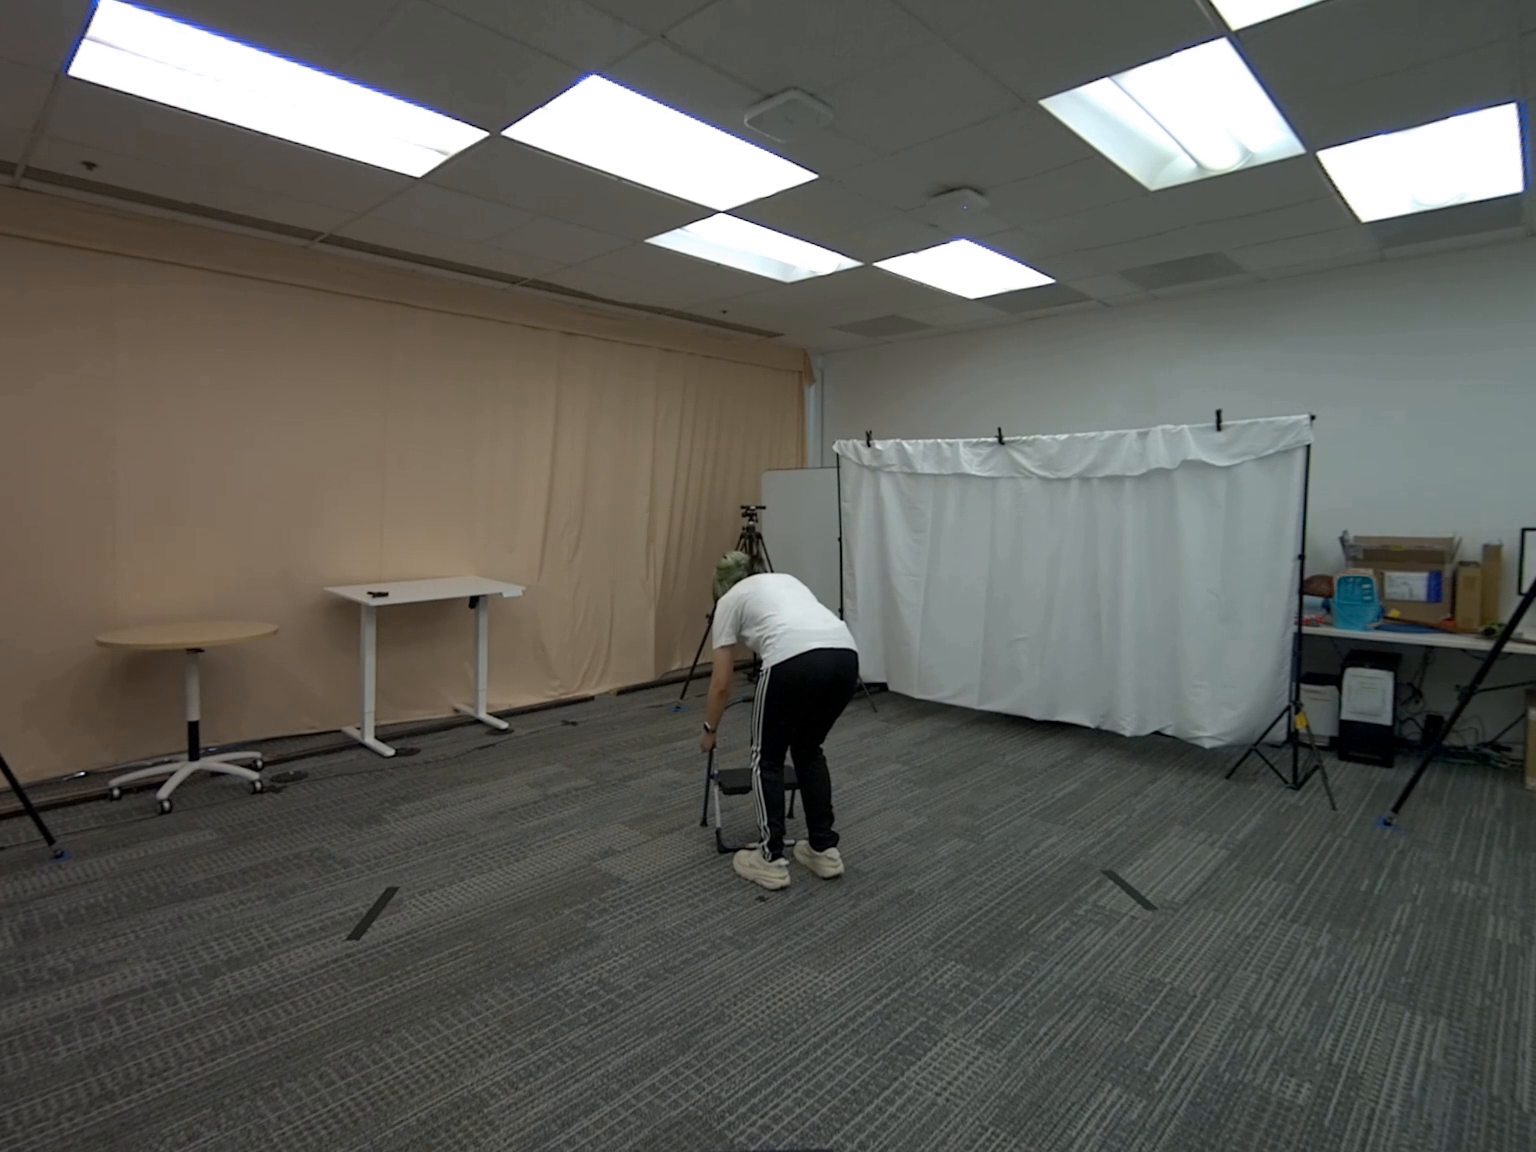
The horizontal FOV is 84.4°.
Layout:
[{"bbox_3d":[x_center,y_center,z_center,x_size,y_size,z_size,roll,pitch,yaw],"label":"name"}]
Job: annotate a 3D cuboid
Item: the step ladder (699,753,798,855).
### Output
[{"bbox_3d":[-0.050,0.794,3.561,0.424,0.605,0.355,-1,3,-15],"label":"step ladder"}]
